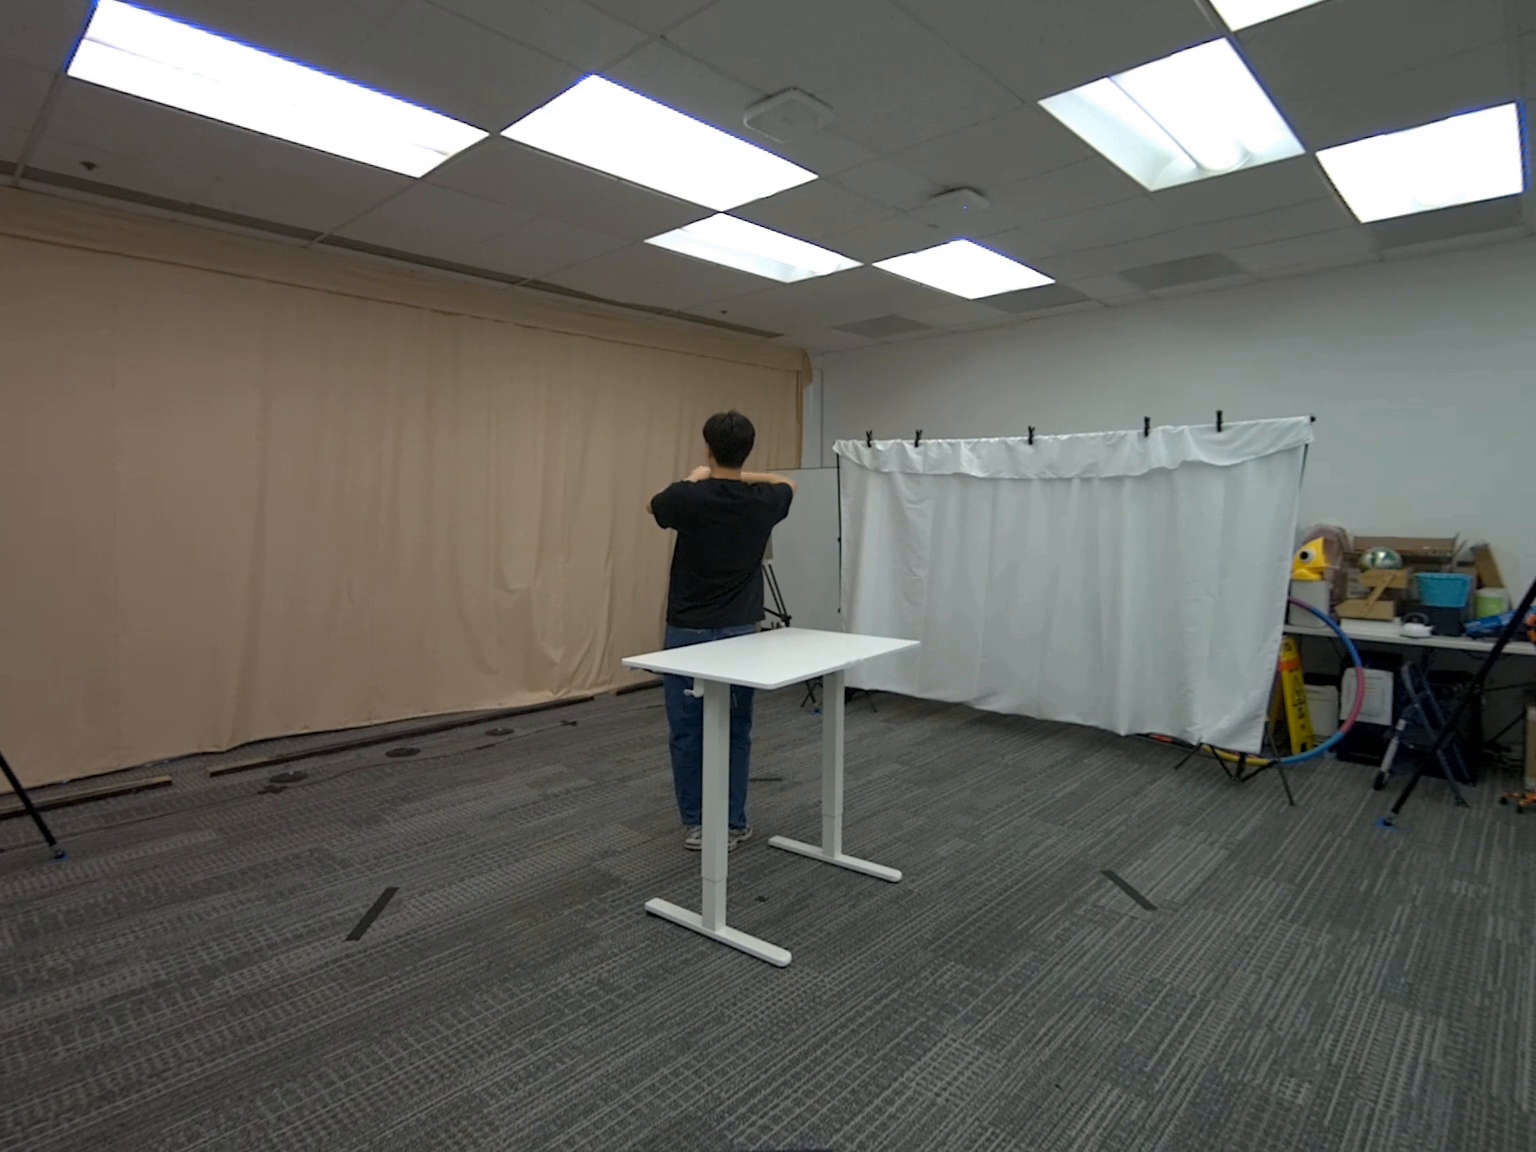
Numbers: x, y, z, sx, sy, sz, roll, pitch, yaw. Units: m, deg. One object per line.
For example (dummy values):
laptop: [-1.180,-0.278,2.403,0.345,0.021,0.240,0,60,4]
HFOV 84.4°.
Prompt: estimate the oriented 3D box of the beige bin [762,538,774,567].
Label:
beige bin: [-0.166,-0.262,3.871,0.376,0.422,0.190,-5,2,-4]
